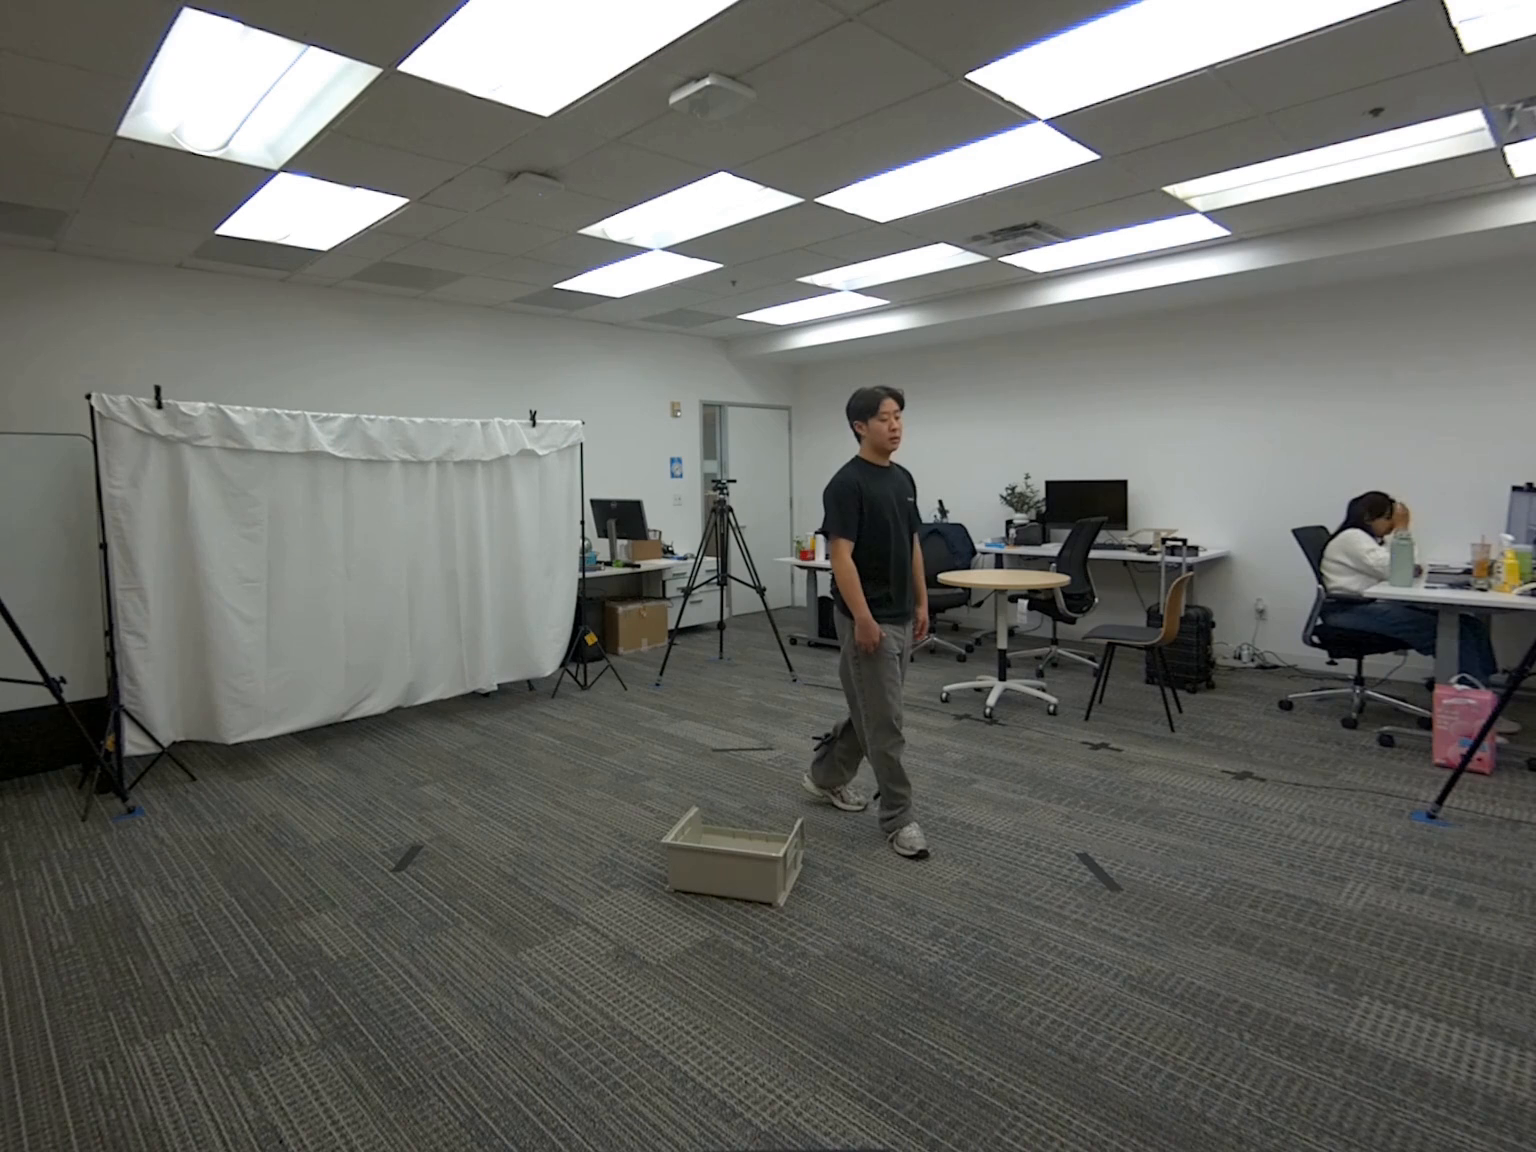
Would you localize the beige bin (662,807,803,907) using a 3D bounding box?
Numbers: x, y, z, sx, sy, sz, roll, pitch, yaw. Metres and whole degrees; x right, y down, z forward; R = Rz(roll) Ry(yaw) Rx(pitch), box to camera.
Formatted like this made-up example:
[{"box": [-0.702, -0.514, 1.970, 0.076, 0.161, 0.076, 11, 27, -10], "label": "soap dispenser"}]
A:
[{"box": [-0.109, 0.969, 3.011, 0.429, 0.188, 0.373, 1, 7, 16], "label": "beige bin"}]
